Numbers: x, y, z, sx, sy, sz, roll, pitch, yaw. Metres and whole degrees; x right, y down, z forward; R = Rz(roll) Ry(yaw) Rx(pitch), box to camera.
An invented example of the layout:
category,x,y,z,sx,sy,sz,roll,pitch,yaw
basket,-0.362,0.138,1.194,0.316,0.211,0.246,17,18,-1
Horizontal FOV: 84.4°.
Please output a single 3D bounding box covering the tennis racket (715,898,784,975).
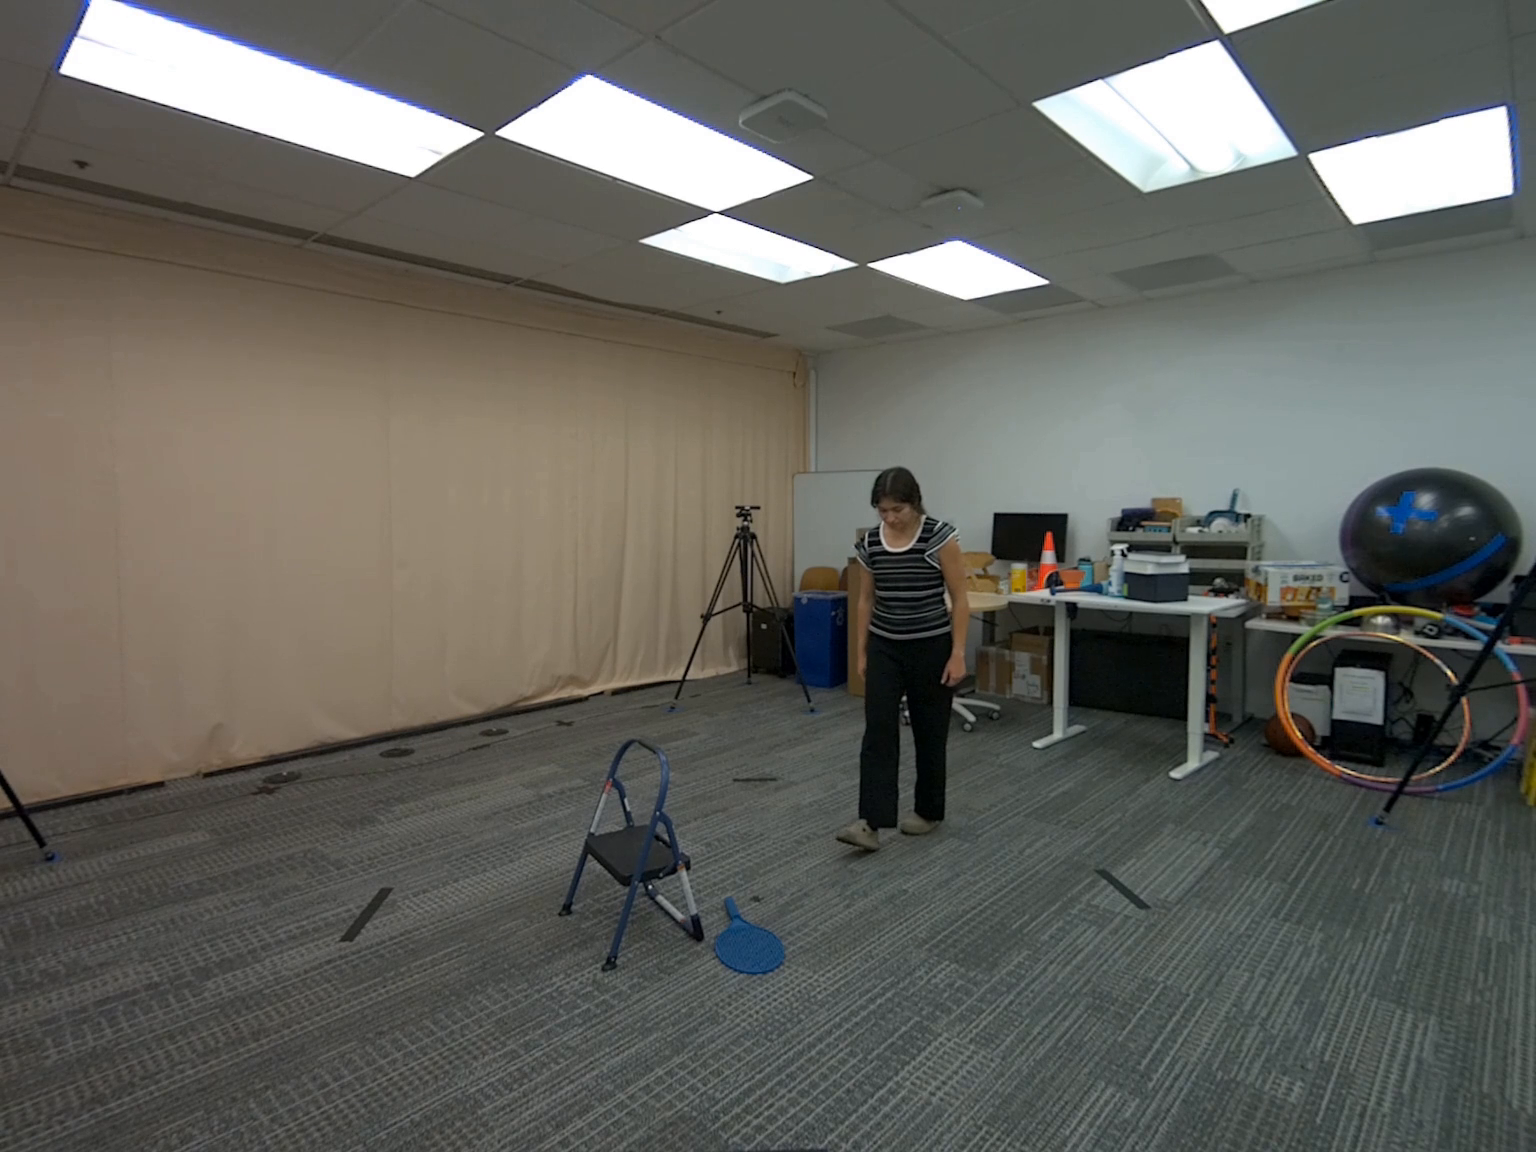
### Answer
category,x,y,z,sx,sy,sz,roll,pitch,yaw
tennis racket,-0.073,1.156,2.709,0.211,0.031,0.440,0,6,-13
